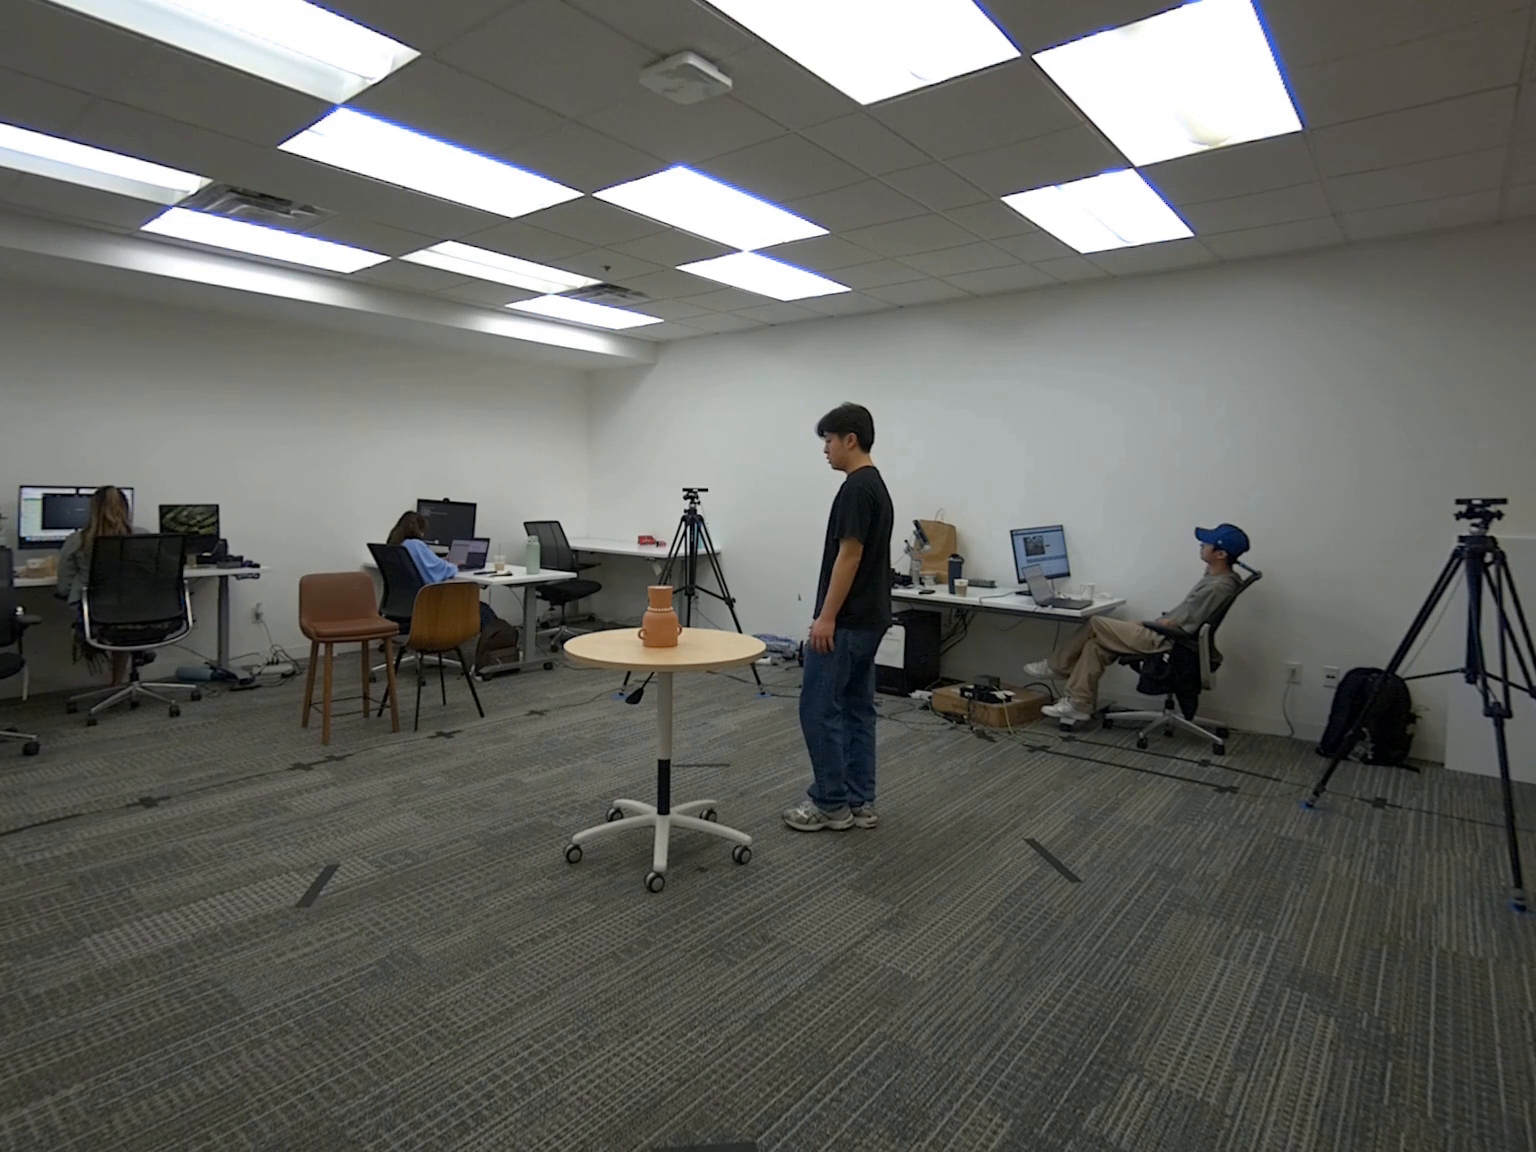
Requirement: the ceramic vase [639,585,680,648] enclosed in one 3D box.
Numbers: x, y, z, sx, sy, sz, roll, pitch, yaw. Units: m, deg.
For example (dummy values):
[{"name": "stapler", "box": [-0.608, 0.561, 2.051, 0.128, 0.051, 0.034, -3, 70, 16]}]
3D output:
[{"name": "ceramic vase", "box": [-0.420, 0.147, 3.222, 0.136, 0.219, 0.157, 1, 2, 11]}]
